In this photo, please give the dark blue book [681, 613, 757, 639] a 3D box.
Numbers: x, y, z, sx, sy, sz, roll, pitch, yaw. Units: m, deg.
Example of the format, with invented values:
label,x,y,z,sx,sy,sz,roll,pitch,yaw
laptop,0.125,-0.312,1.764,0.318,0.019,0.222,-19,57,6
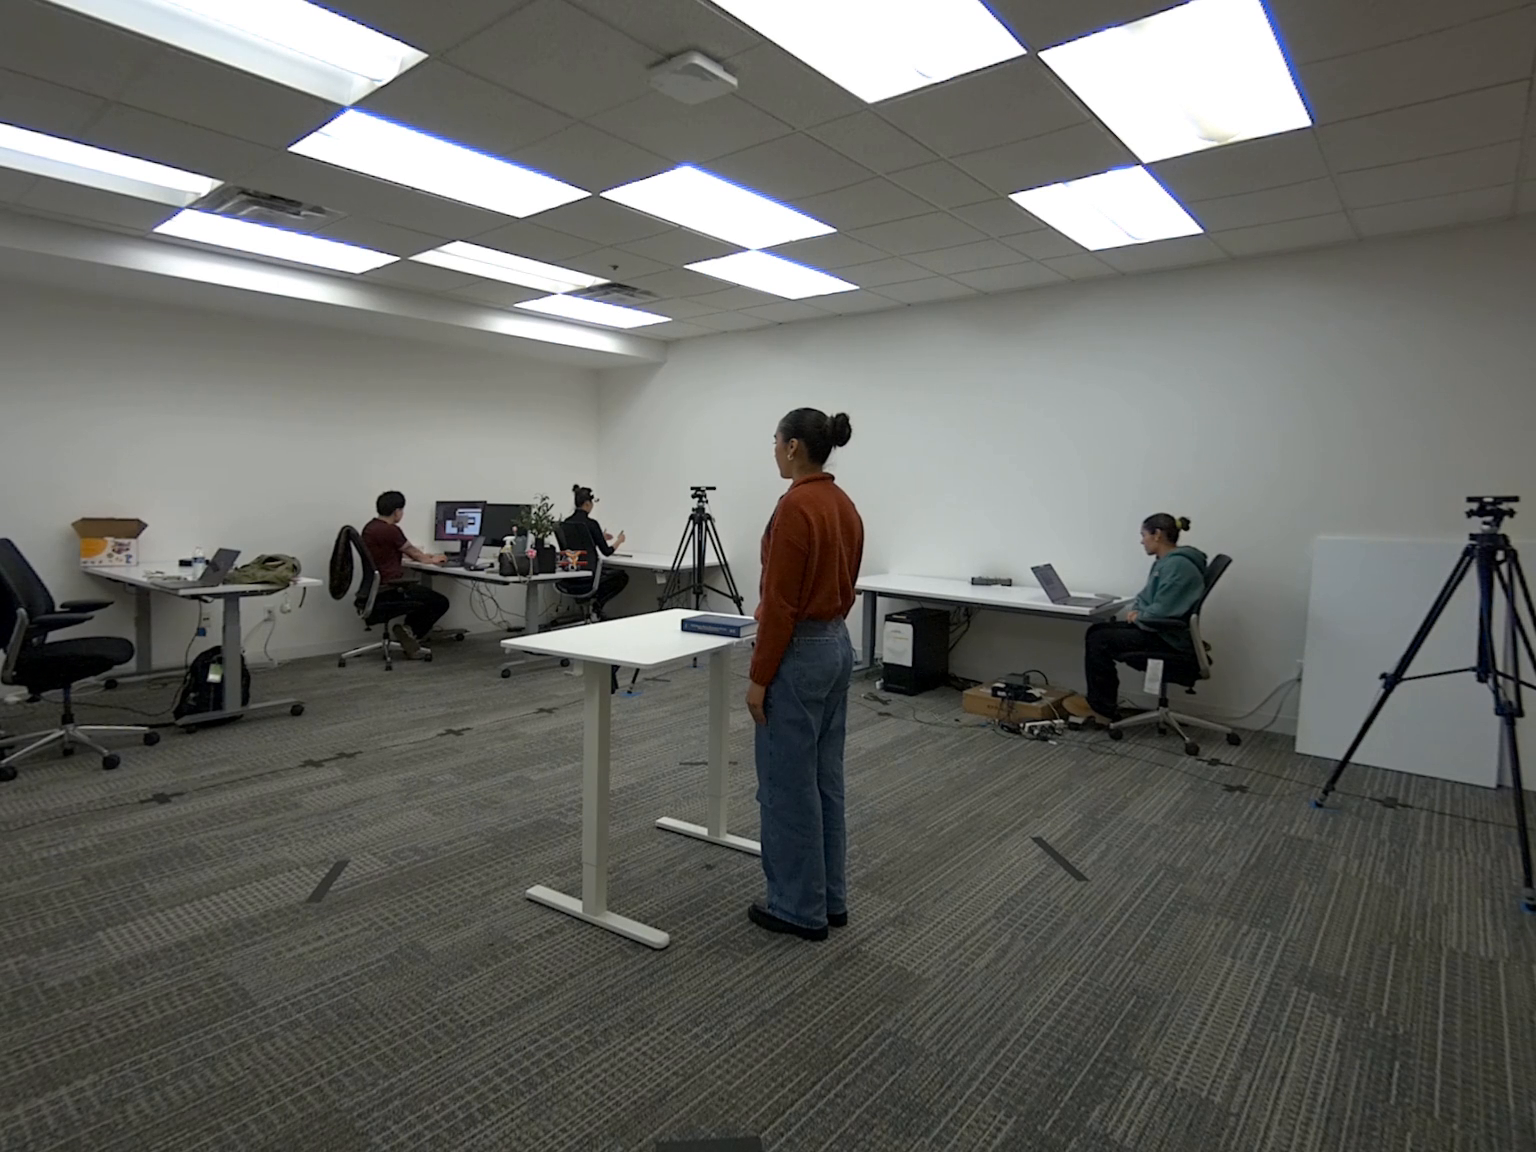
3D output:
label,x,y,z,sx,sy,sz,roll,pitch,yaw
dark blue book,-0.170,0.174,3.011,0.252,0.045,0.159,4,6,28
